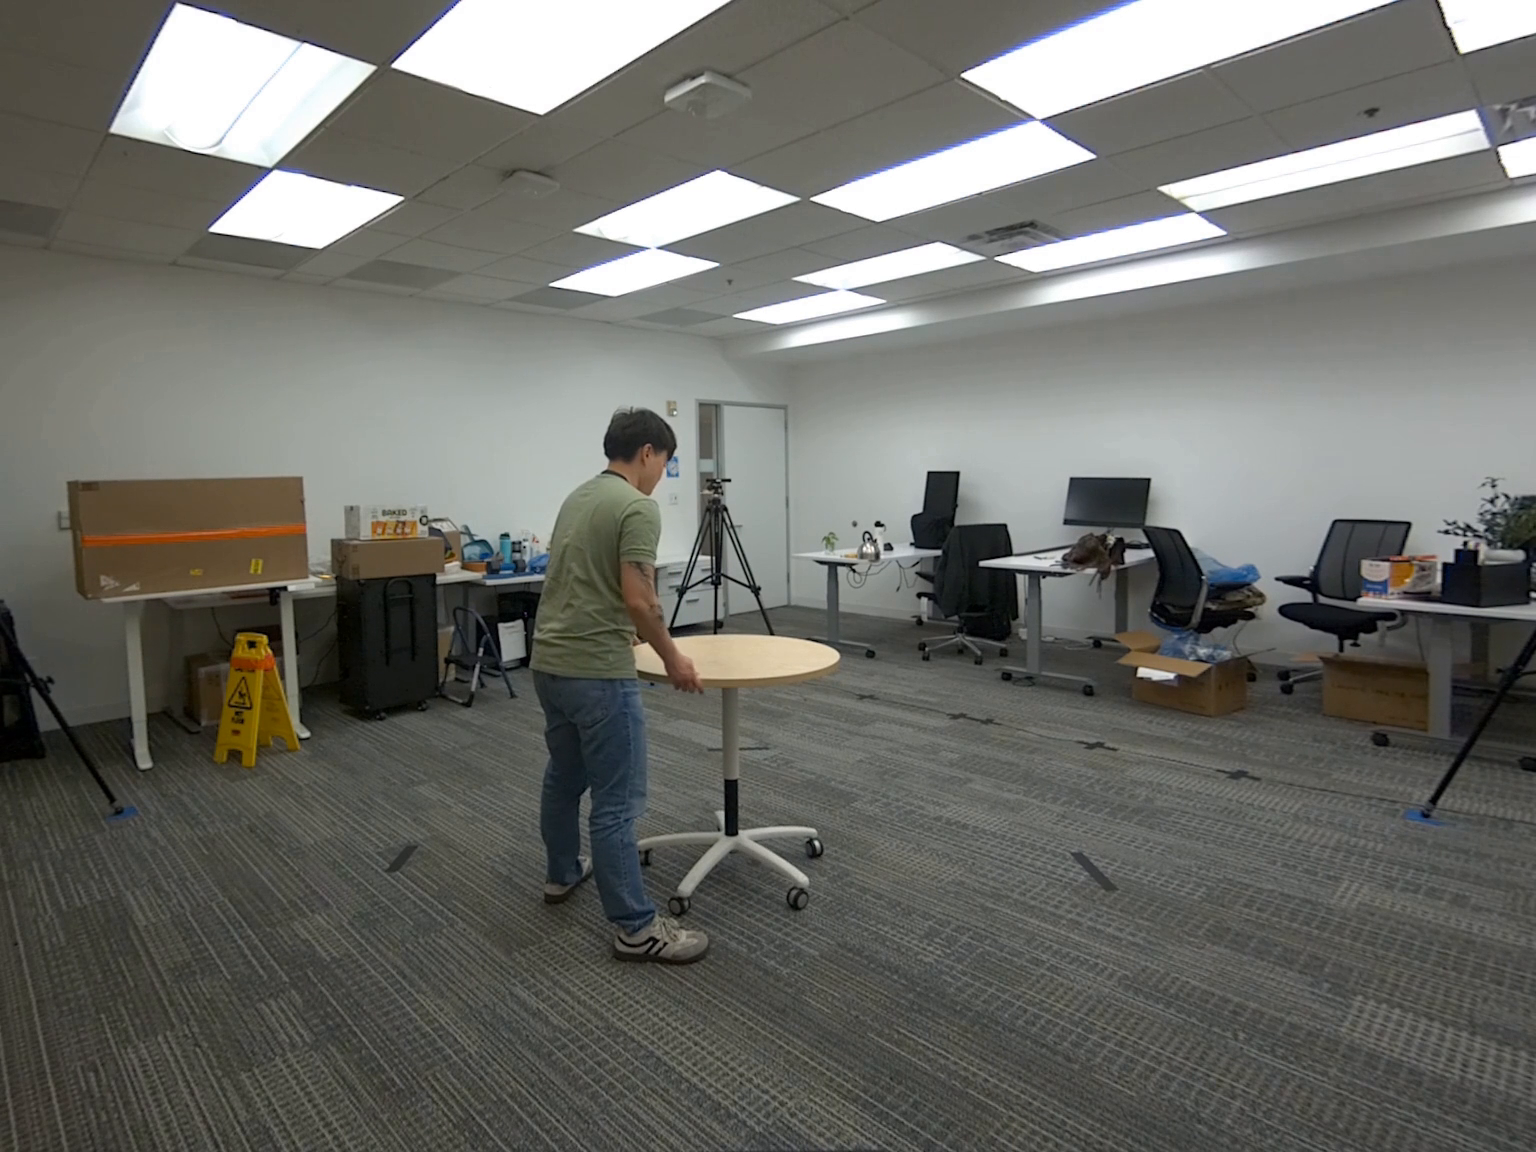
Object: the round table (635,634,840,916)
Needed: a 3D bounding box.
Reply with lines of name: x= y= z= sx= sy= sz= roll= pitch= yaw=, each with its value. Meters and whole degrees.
round table: x=-0.124 y=0.666 z=3.016 sx=0.763 sy=0.791 sz=0.768 roll=-1 pitch=5 yaw=-2
